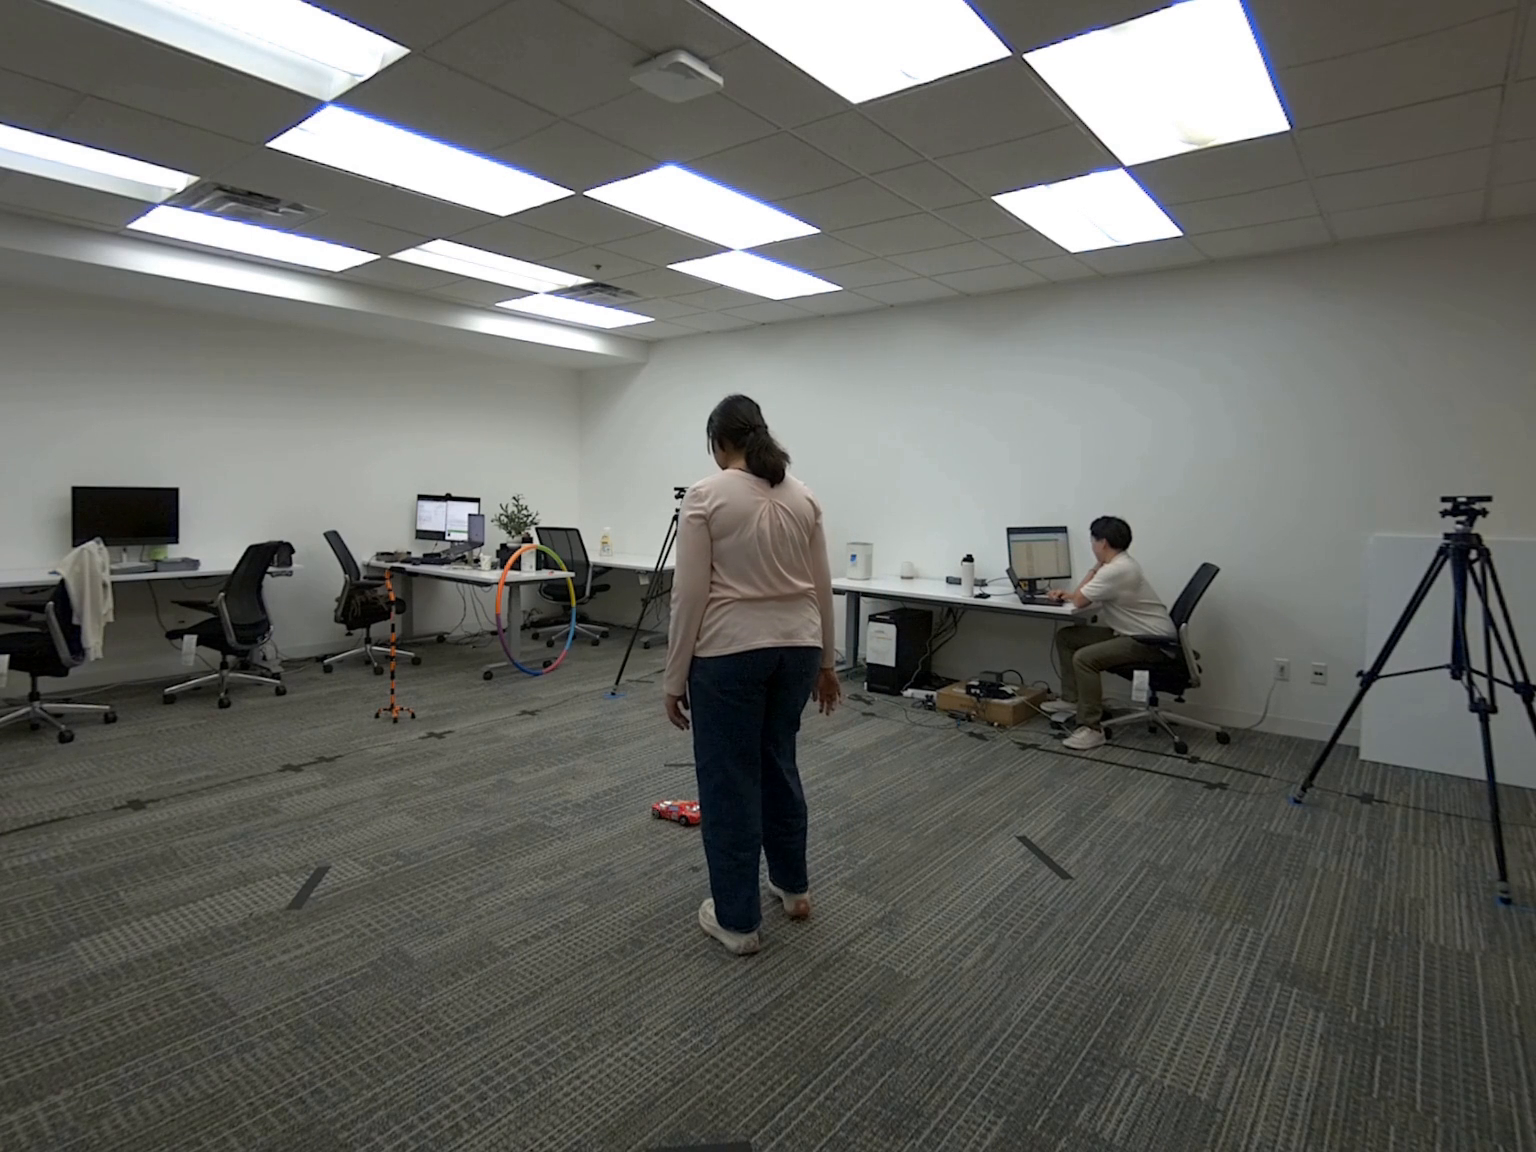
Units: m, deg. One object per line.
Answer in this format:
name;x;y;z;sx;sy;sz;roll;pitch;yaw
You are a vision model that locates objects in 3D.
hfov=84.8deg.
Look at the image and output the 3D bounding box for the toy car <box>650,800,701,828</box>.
toy car;-0.375;0.986;3.569;0.261;0.083;0.127;-8;-1;32
